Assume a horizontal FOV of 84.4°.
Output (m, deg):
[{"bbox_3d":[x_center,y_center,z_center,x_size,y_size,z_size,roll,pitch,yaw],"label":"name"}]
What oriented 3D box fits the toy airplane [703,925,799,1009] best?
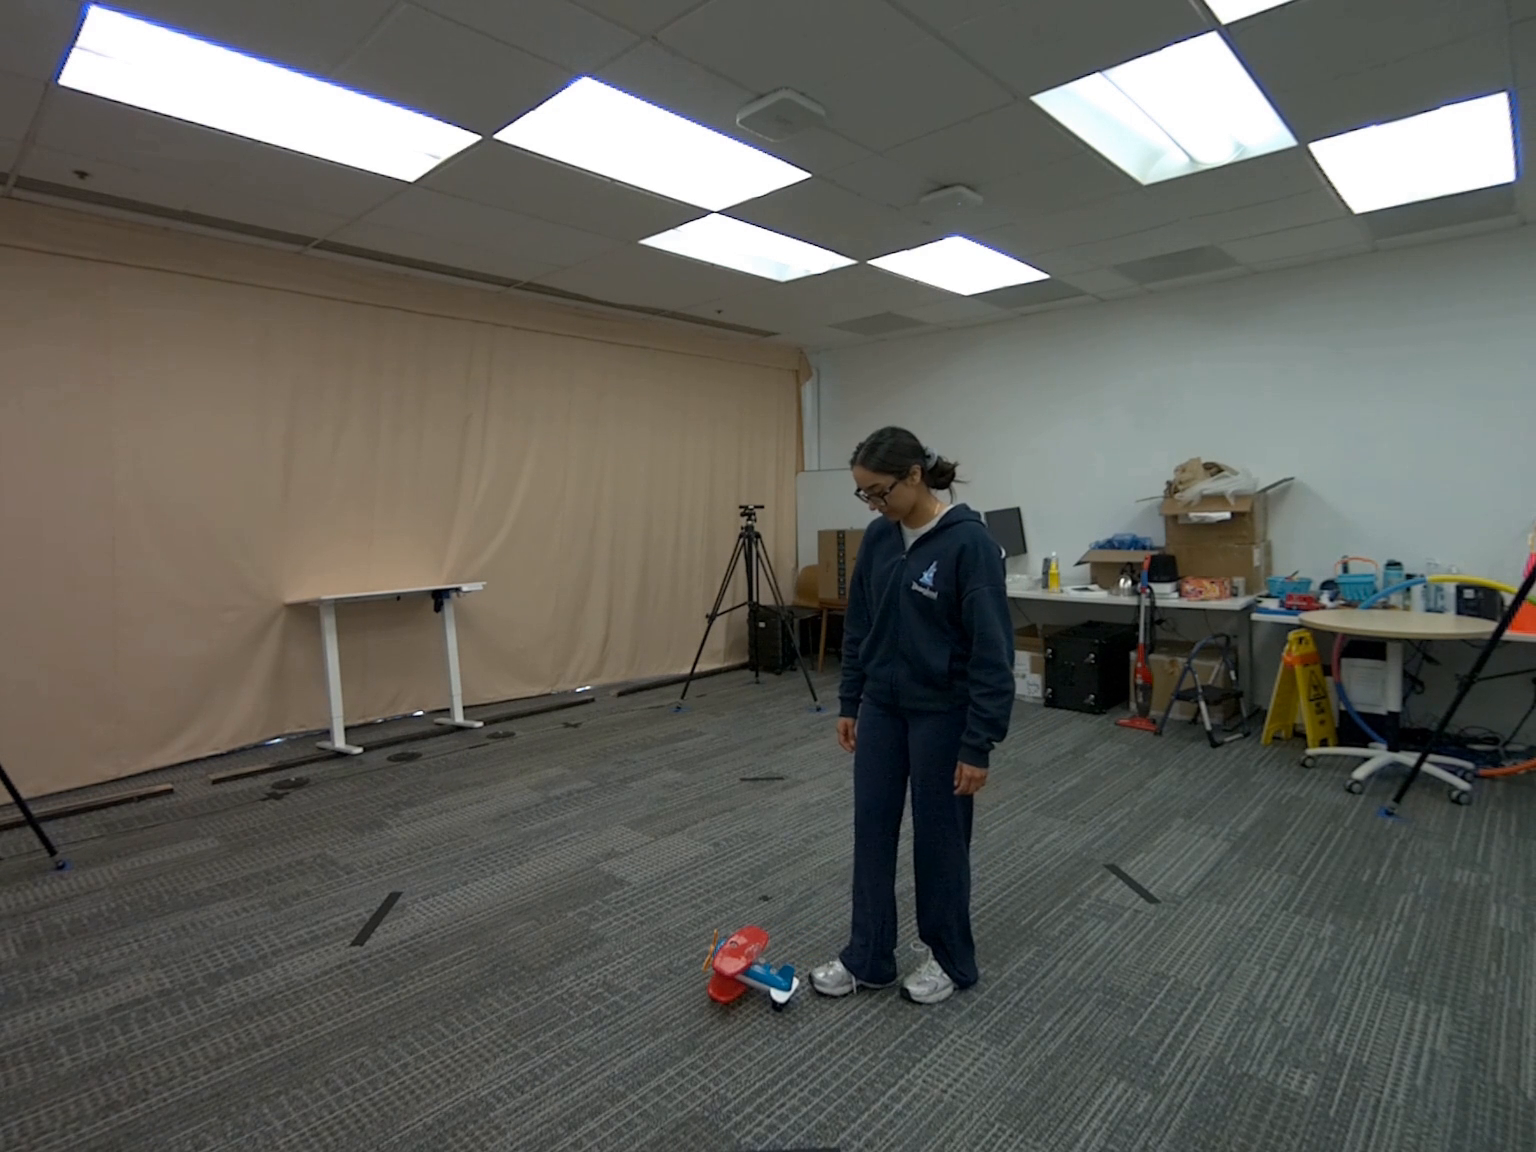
[{"bbox_3d":[-0.040,1.118,2.390,0.258,0.156,0.253,-2,6,-3],"label":"toy airplane"}]
